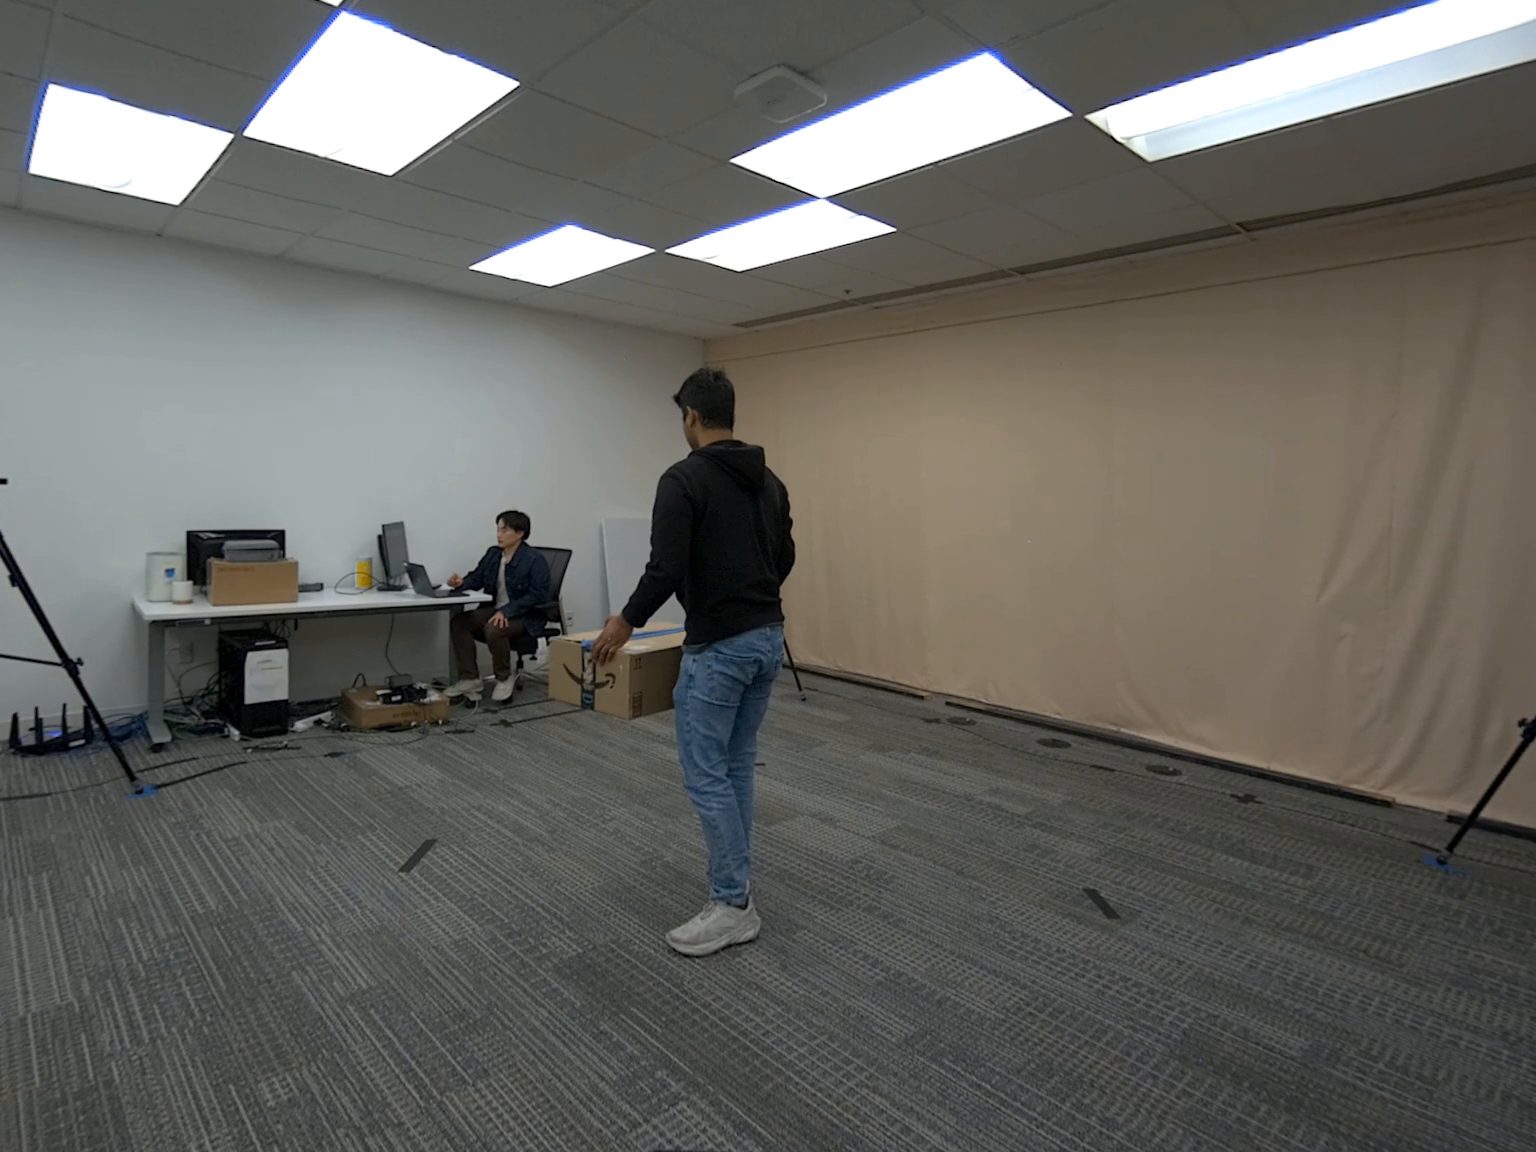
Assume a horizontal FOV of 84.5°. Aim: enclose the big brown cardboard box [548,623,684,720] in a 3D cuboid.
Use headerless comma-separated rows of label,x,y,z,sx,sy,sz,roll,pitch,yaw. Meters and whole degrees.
big brown cardboard box,-0.436,0.323,3.019,0.428,0.232,0.576,5,6,39
